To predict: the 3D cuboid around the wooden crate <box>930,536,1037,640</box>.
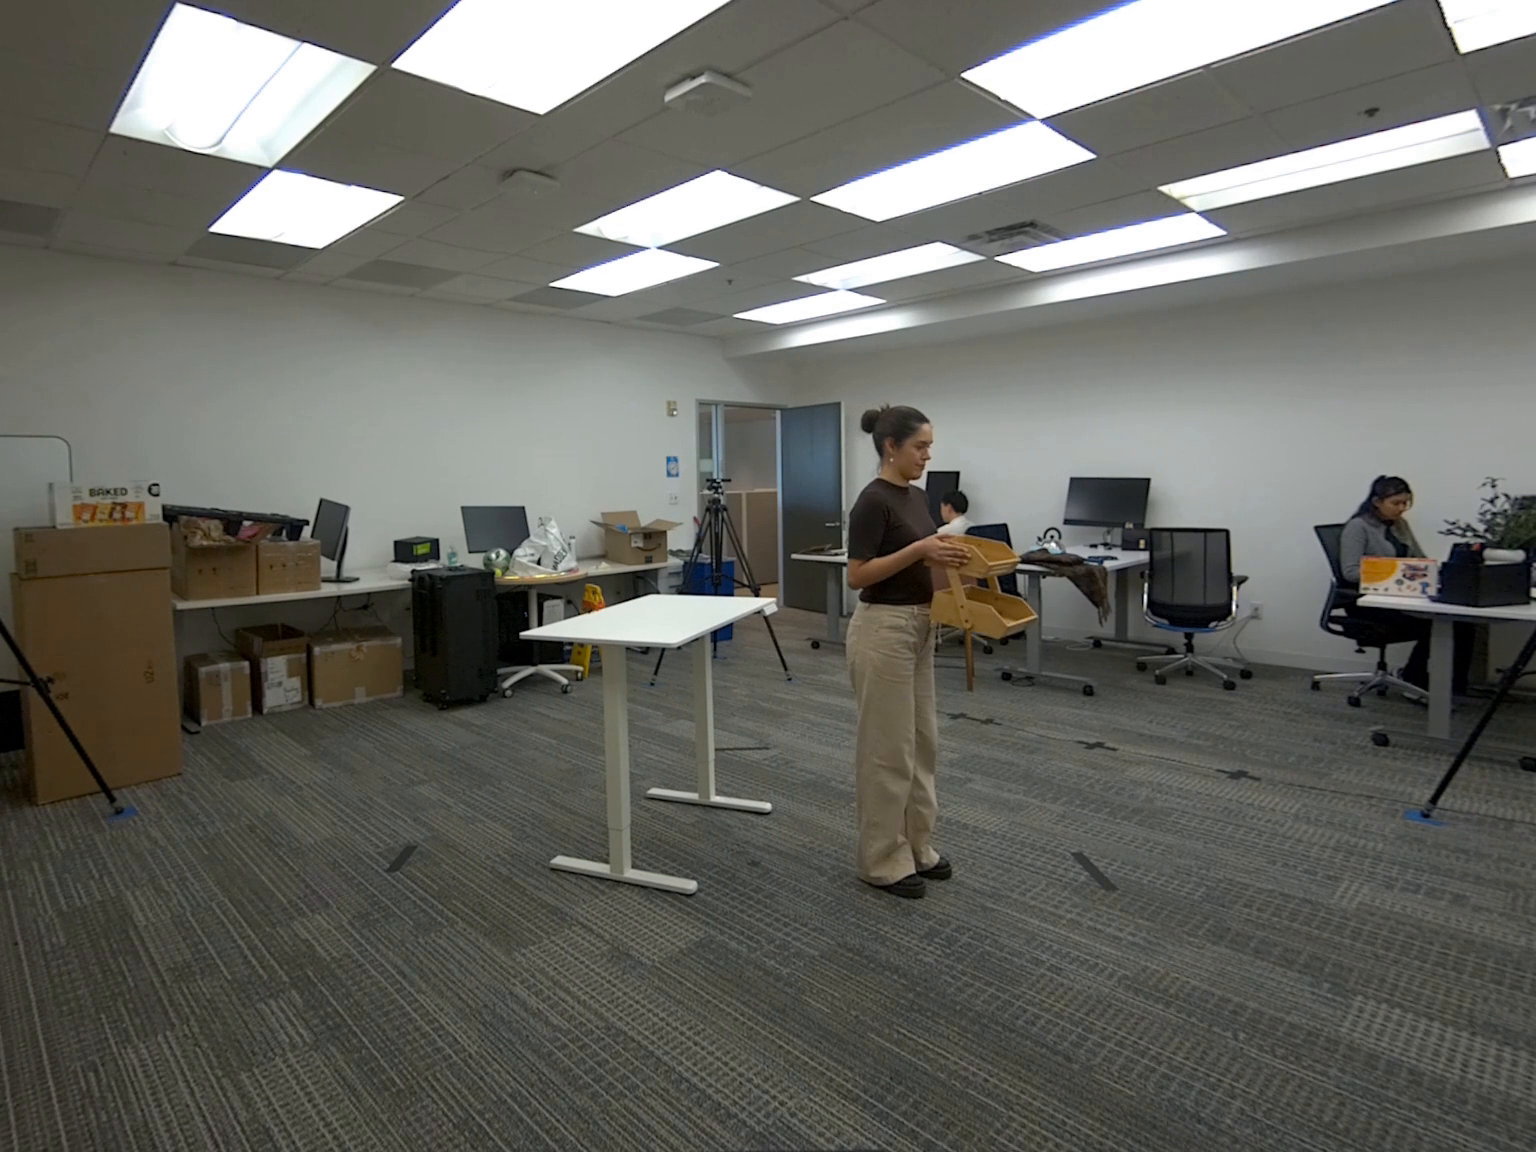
[{"bbox_3d":[0.702,0.025,2.773,0.312,0.271,0.316,16,11,33],"label":"wooden crate"}]
